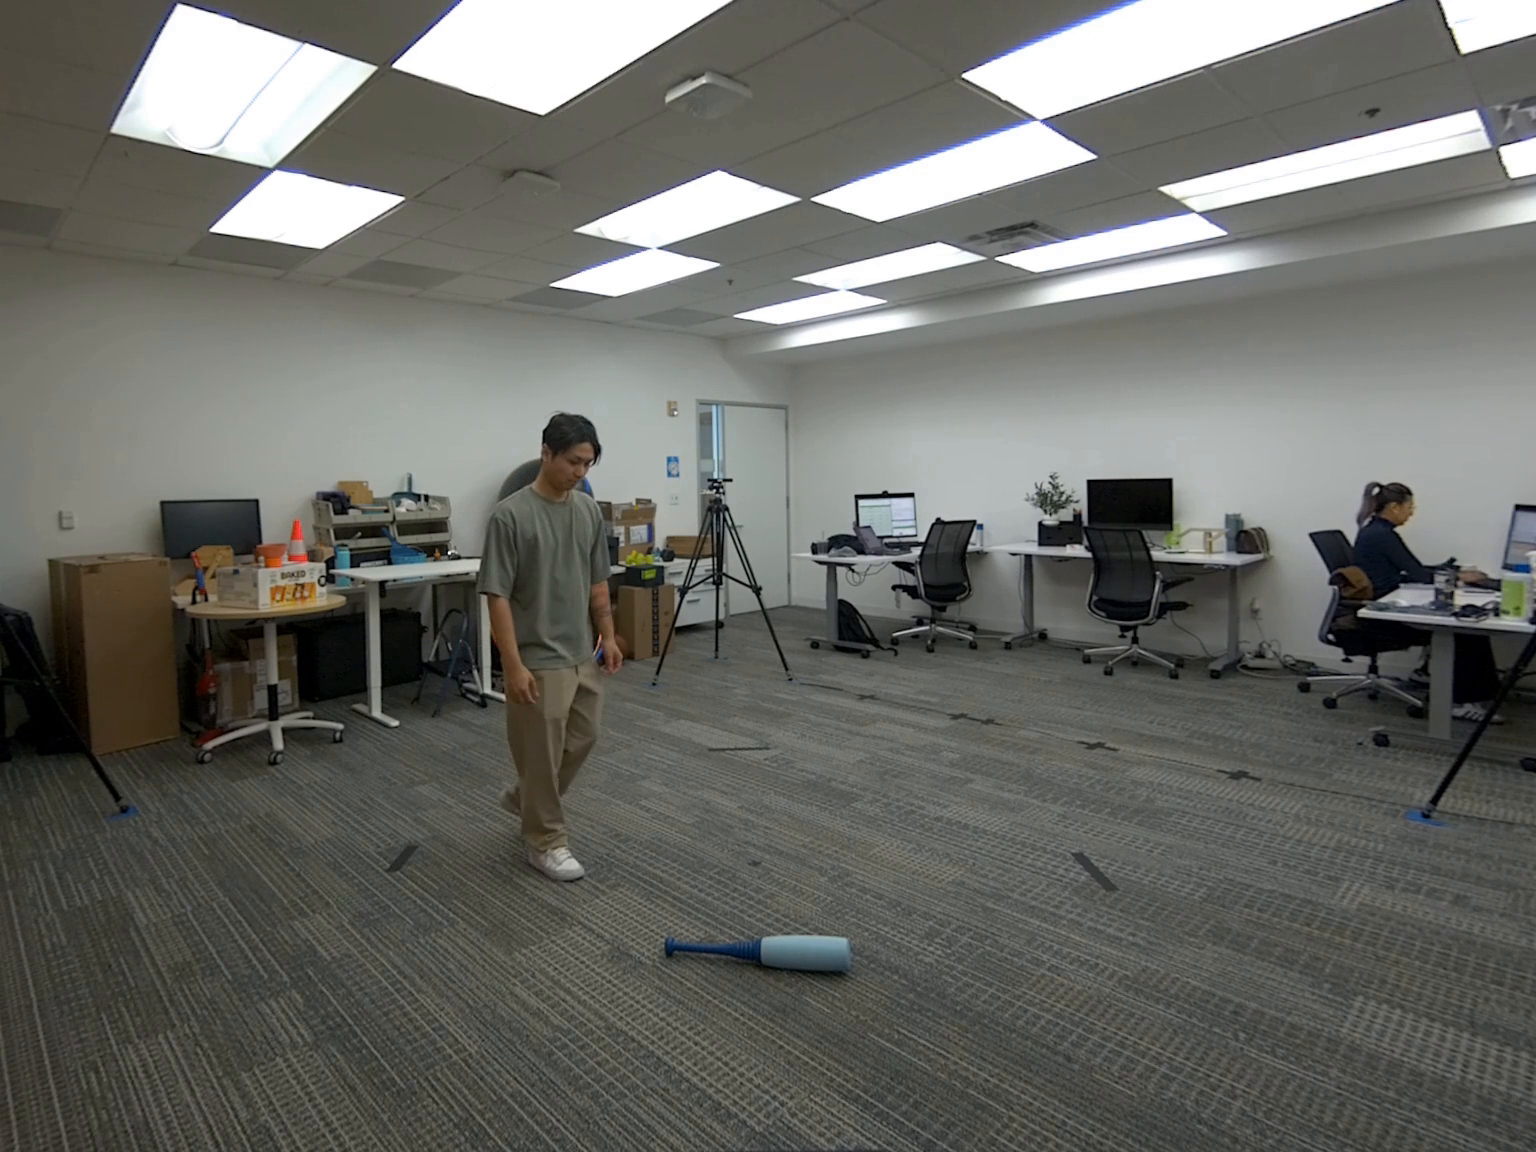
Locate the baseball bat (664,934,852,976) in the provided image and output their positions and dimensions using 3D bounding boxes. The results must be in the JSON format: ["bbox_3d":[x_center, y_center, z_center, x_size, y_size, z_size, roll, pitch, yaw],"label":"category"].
[{"bbox_3d":[-0.029,1.082,2.463,0.549,0.089,0.088,-3,4,12],"label":"baseball bat"}]
